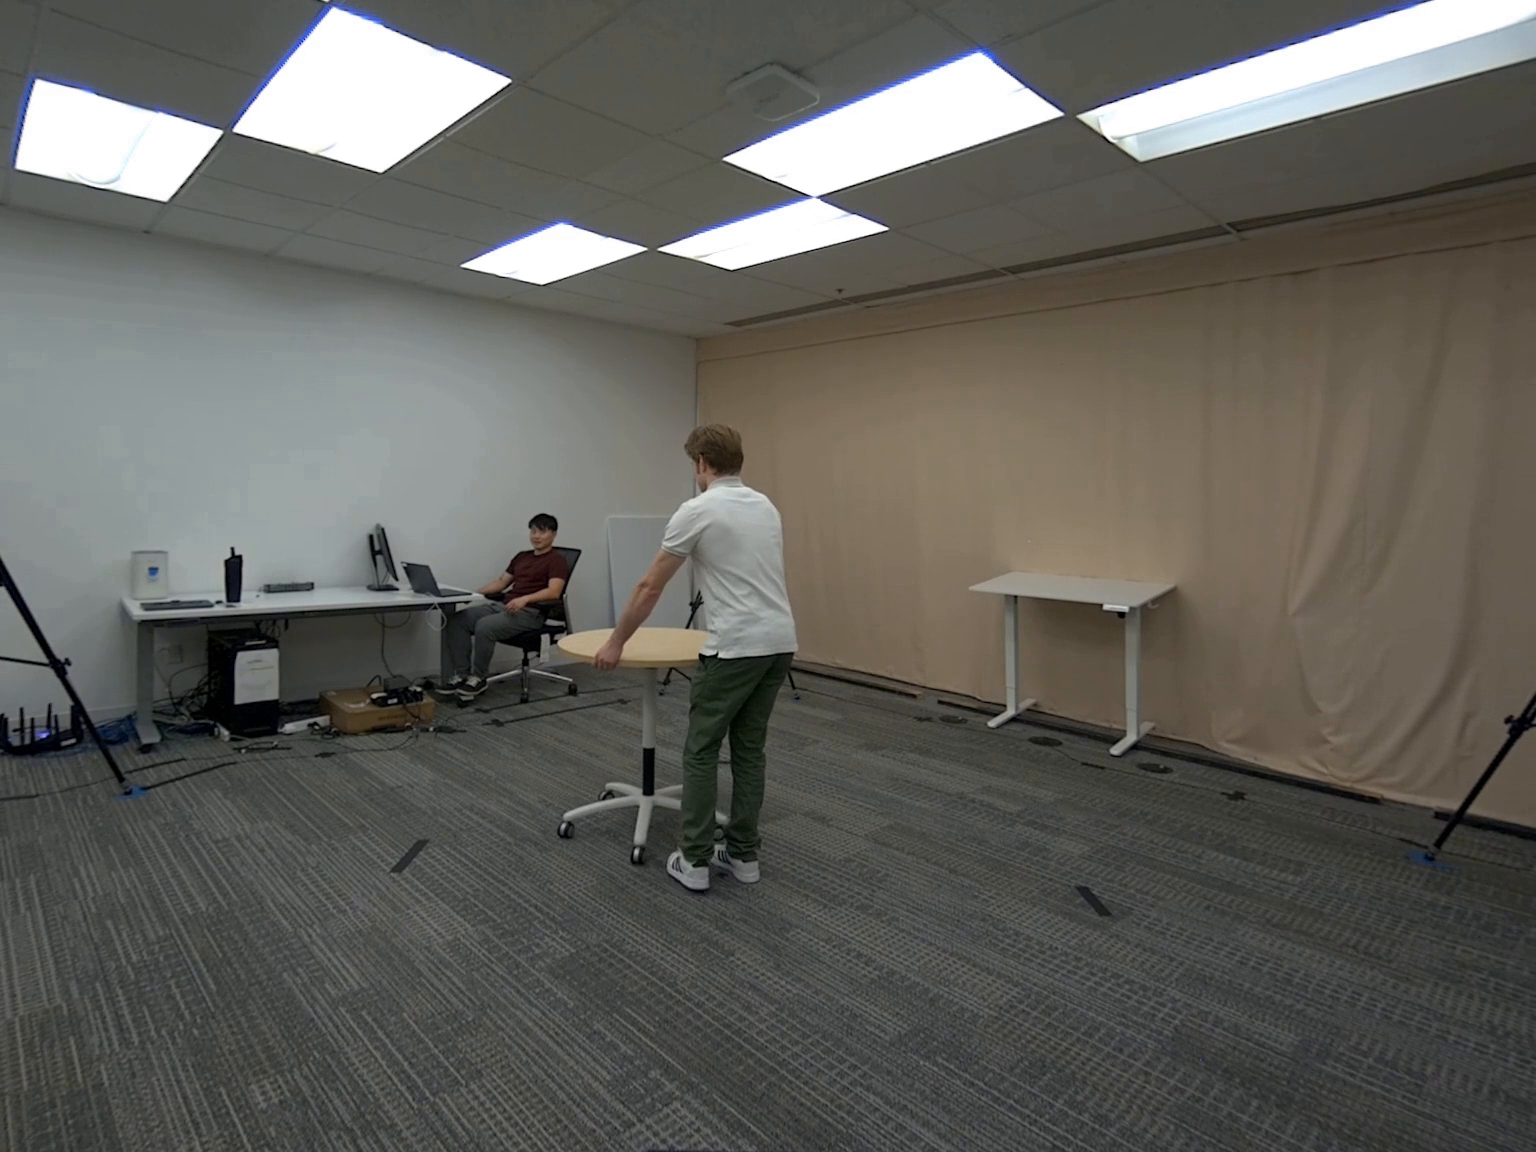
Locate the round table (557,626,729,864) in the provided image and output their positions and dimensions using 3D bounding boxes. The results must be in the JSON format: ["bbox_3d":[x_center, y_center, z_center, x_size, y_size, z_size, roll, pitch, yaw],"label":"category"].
[{"bbox_3d":[-0.503,0.670,3.519,0.763,0.792,0.766,1,4,-1],"label":"round table"}]
